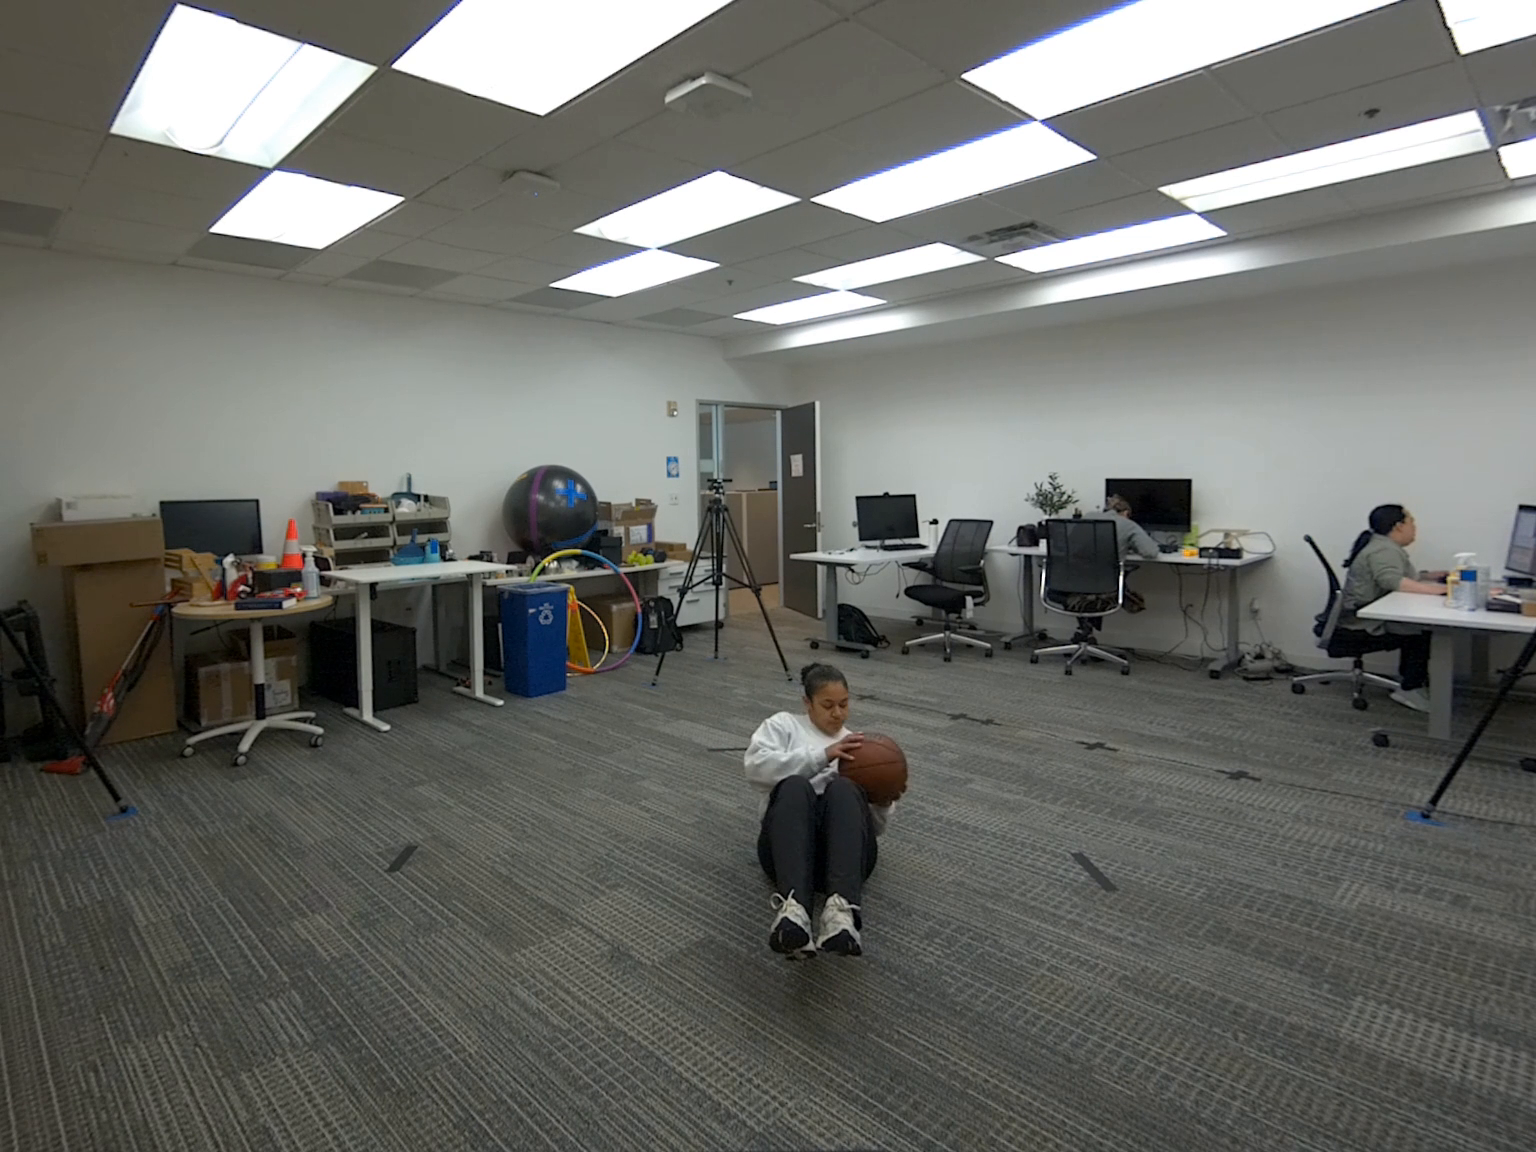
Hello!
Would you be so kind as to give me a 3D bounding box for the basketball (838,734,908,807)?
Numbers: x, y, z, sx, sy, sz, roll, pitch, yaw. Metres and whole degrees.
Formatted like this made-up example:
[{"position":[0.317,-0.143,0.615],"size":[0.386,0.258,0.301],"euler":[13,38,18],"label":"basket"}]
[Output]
[{"position":[0.350,0.671,2.962],"size":[0.236,0.235,0.237],"euler":[-1,5,-2],"label":"basketball"}]
